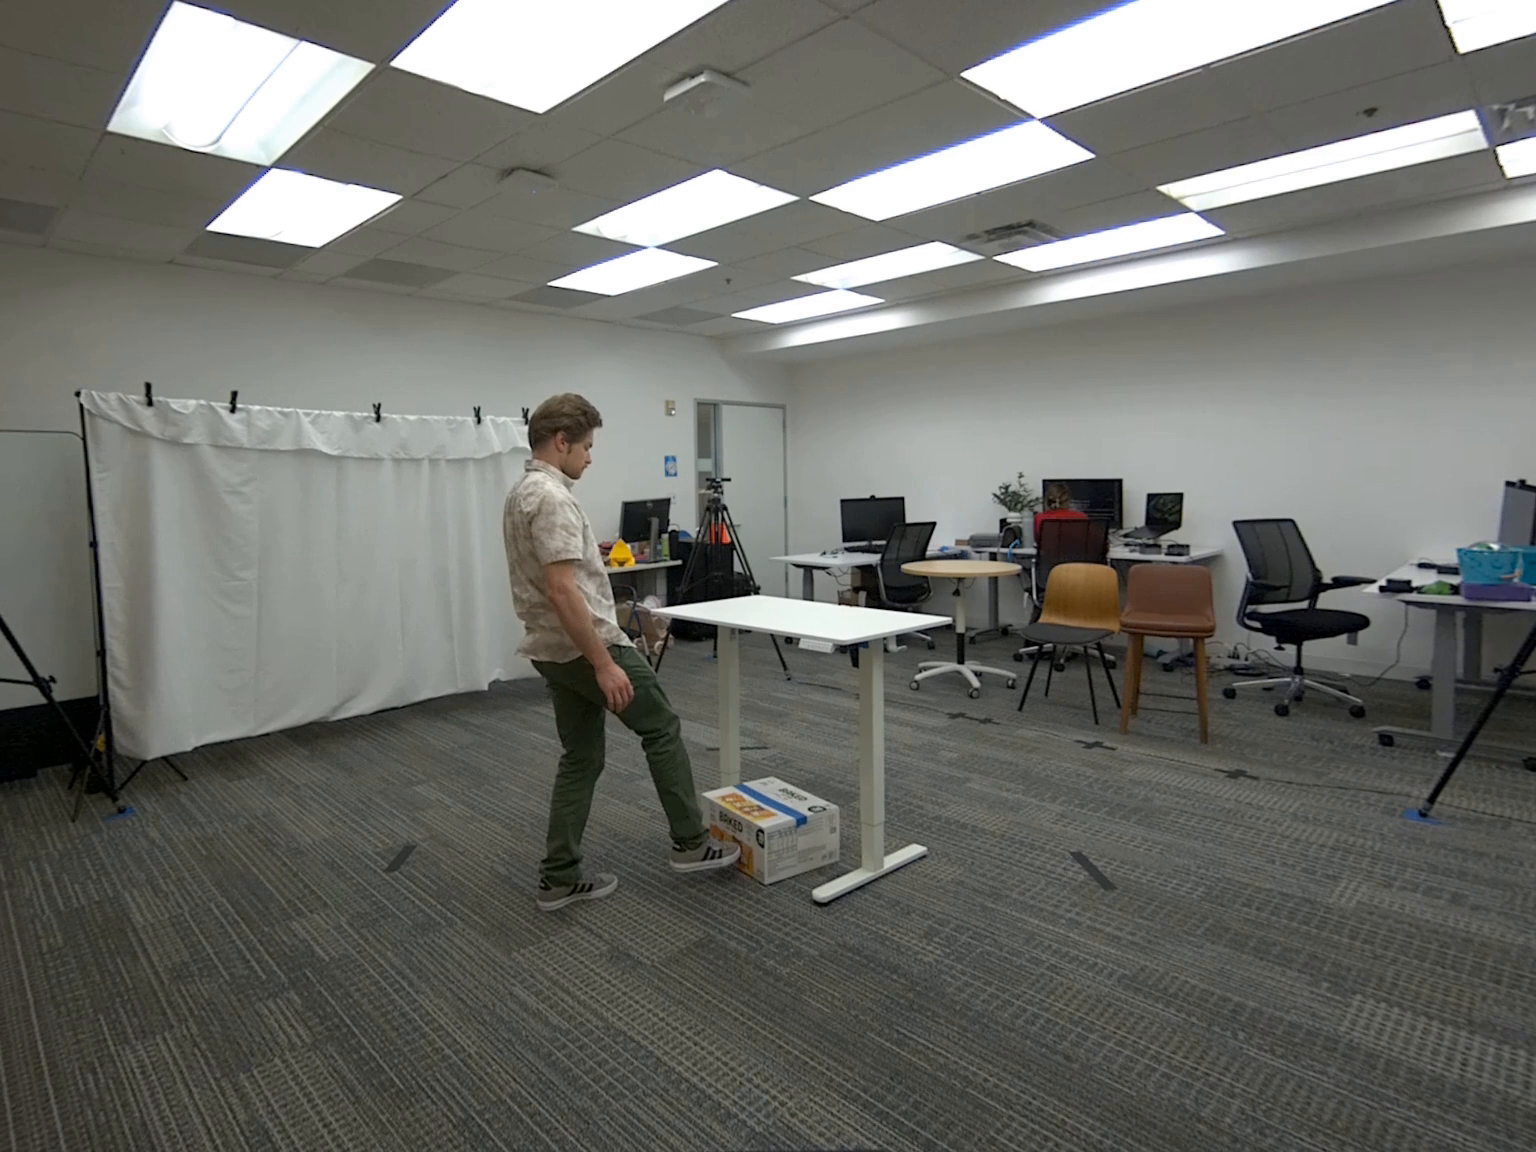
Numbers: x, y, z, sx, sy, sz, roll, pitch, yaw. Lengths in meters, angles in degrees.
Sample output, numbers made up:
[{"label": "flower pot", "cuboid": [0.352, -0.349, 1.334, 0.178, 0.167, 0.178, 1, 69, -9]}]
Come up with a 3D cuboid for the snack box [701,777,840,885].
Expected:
[{"label": "snack box", "cuboid": [0.002, 0.934, 3.167, 0.332, 0.205, 0.417, -4, 7, -35]}]
